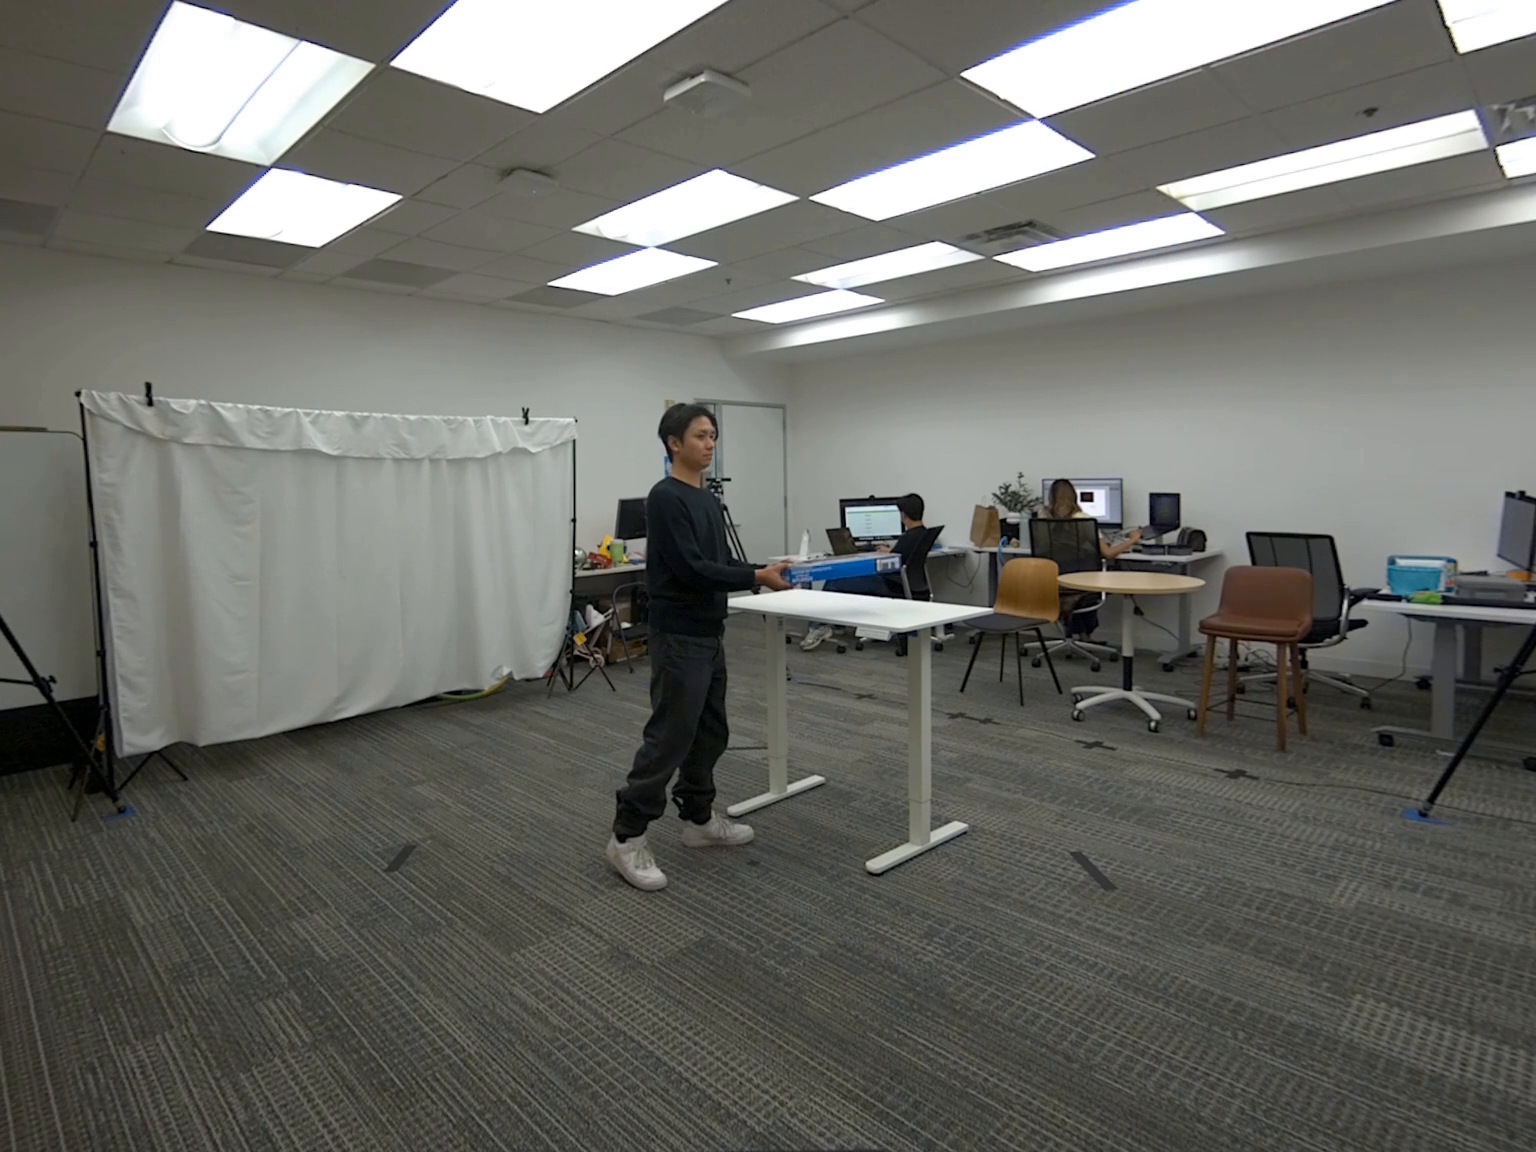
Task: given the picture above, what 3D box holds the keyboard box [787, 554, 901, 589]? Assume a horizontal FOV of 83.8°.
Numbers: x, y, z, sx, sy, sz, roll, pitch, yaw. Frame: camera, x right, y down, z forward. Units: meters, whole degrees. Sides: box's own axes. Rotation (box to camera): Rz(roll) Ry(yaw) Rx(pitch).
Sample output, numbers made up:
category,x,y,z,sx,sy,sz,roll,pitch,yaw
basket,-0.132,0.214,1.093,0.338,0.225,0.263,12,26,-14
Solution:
category,x,y,z,sx,sy,sz,roll,pitch,yaw
keyboard box,0.250,-0.031,3.140,0.432,0.059,0.178,-7,7,-11
